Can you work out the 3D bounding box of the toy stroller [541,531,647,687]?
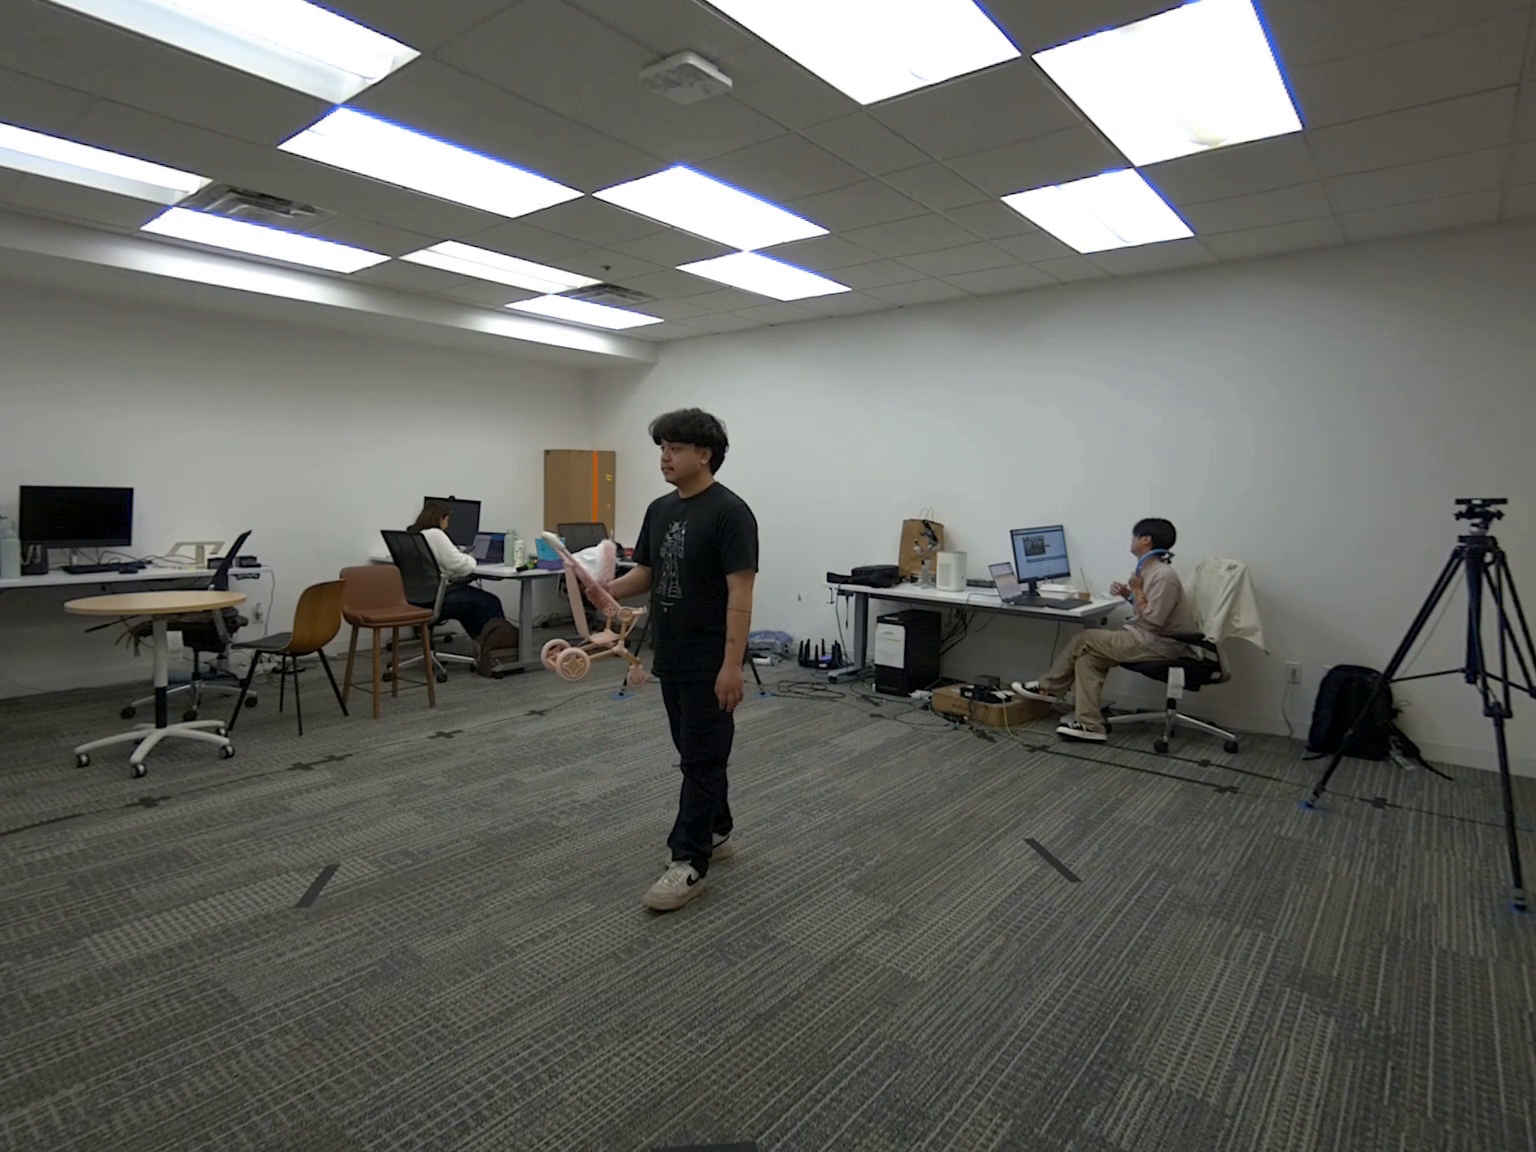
[{"bbox_3d":[-0.588,0.118,2.837,0.335,0.535,0.286,-2,0,-18],"label":"toy stroller"}]
